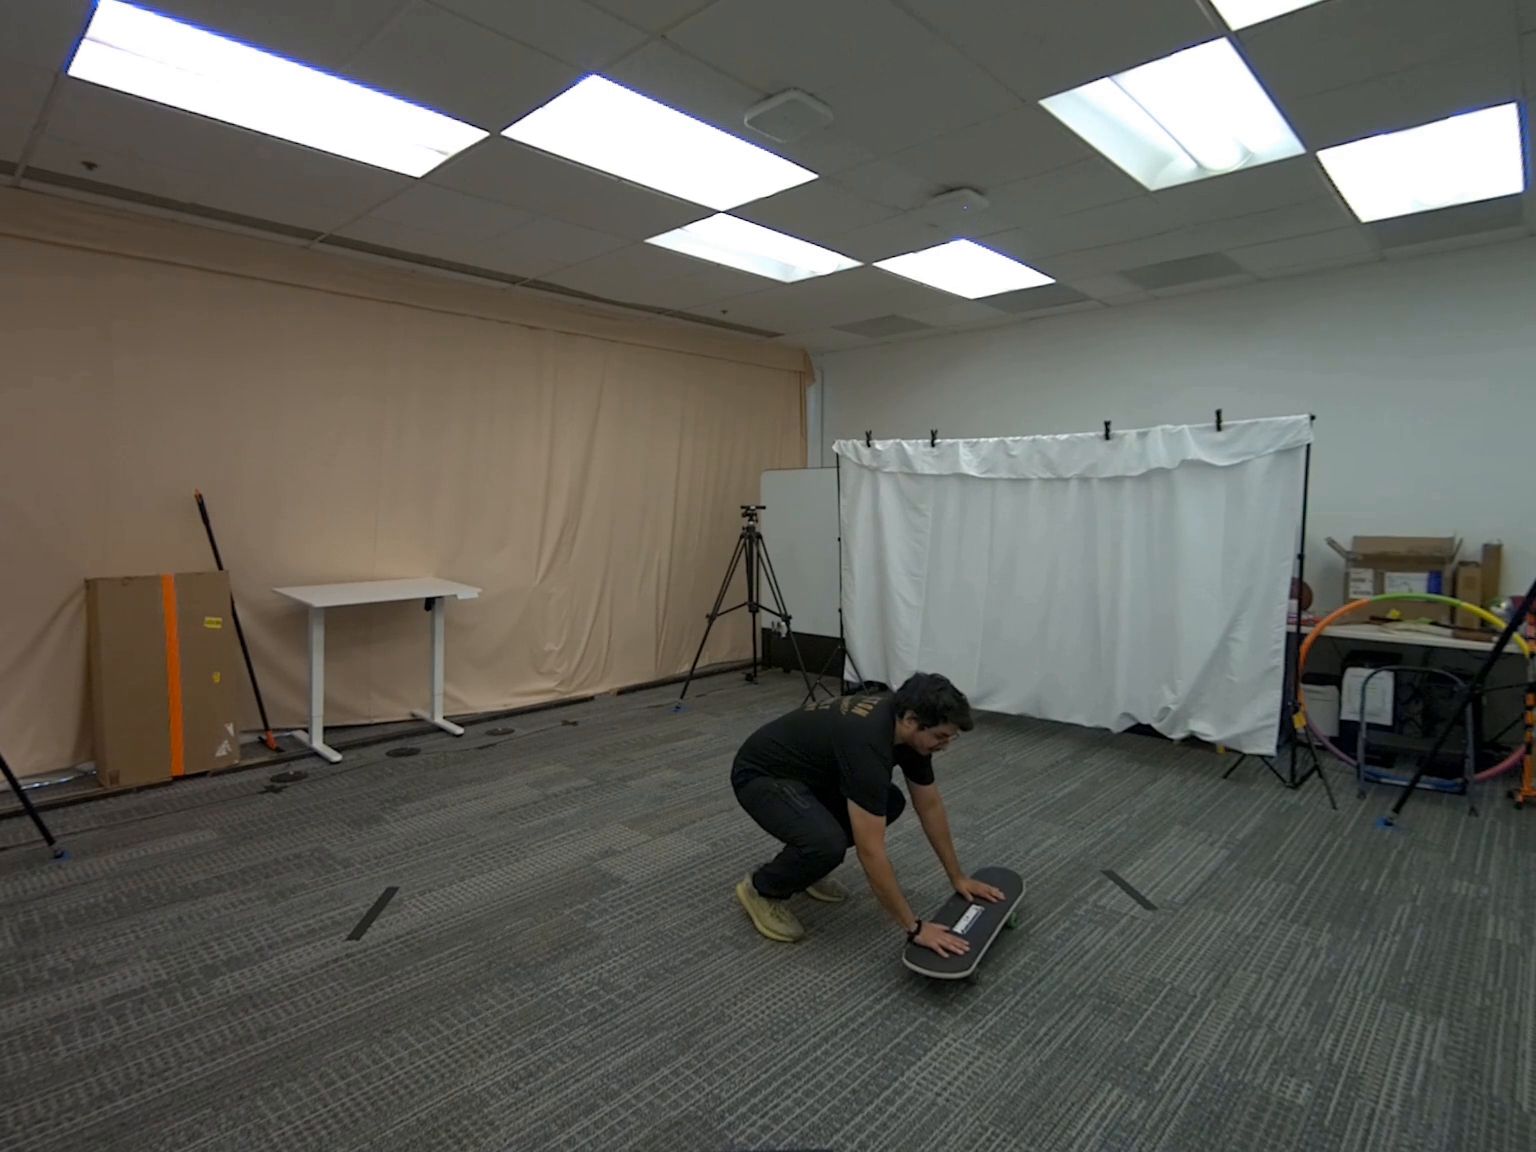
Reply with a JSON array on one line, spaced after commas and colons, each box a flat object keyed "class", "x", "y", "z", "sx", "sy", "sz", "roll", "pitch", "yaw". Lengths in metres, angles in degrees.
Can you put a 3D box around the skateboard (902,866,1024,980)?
[{"class": "skateboard", "x": 0.635, "y": 1.112, "z": 2.659, "sx": 0.199, "sy": 0.110, "sz": 0.763, "roll": 3, "pitch": 6, "yaw": 33}]
